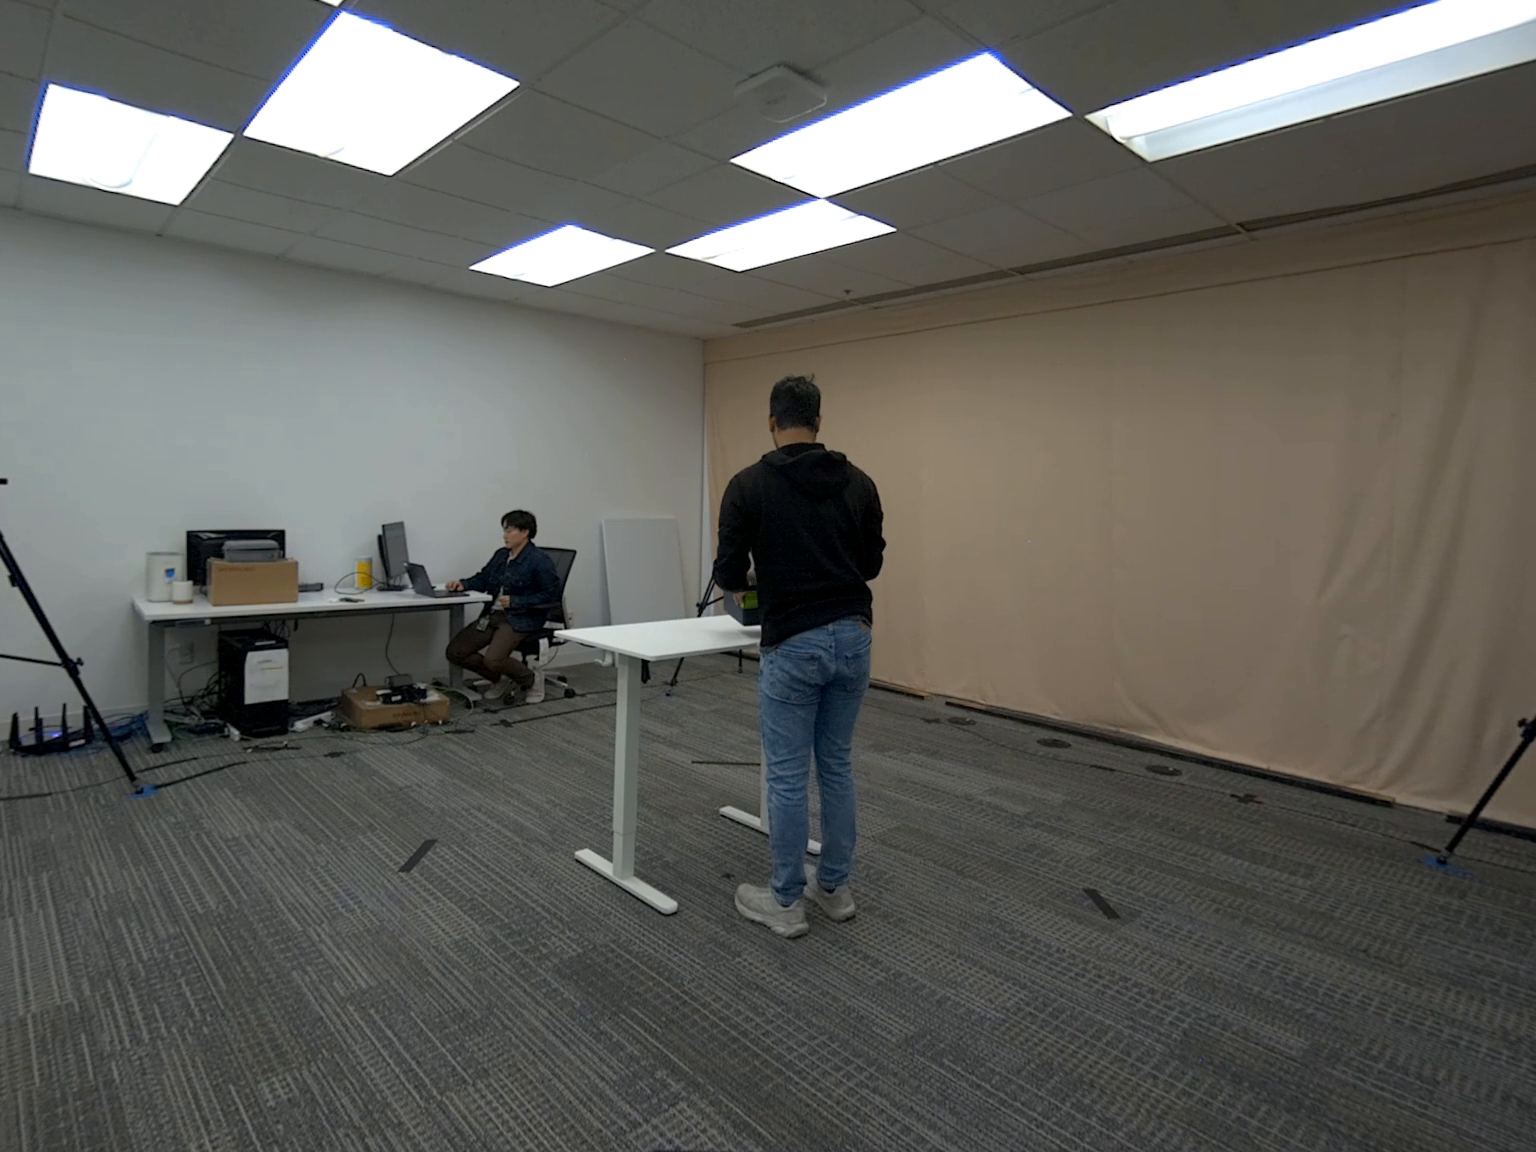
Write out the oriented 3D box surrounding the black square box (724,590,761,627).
[{"bbox_3d":[-0.023,0.087,3.173,0.225,0.154,0.221,-2,12,-17],"label":"black square box"}]
